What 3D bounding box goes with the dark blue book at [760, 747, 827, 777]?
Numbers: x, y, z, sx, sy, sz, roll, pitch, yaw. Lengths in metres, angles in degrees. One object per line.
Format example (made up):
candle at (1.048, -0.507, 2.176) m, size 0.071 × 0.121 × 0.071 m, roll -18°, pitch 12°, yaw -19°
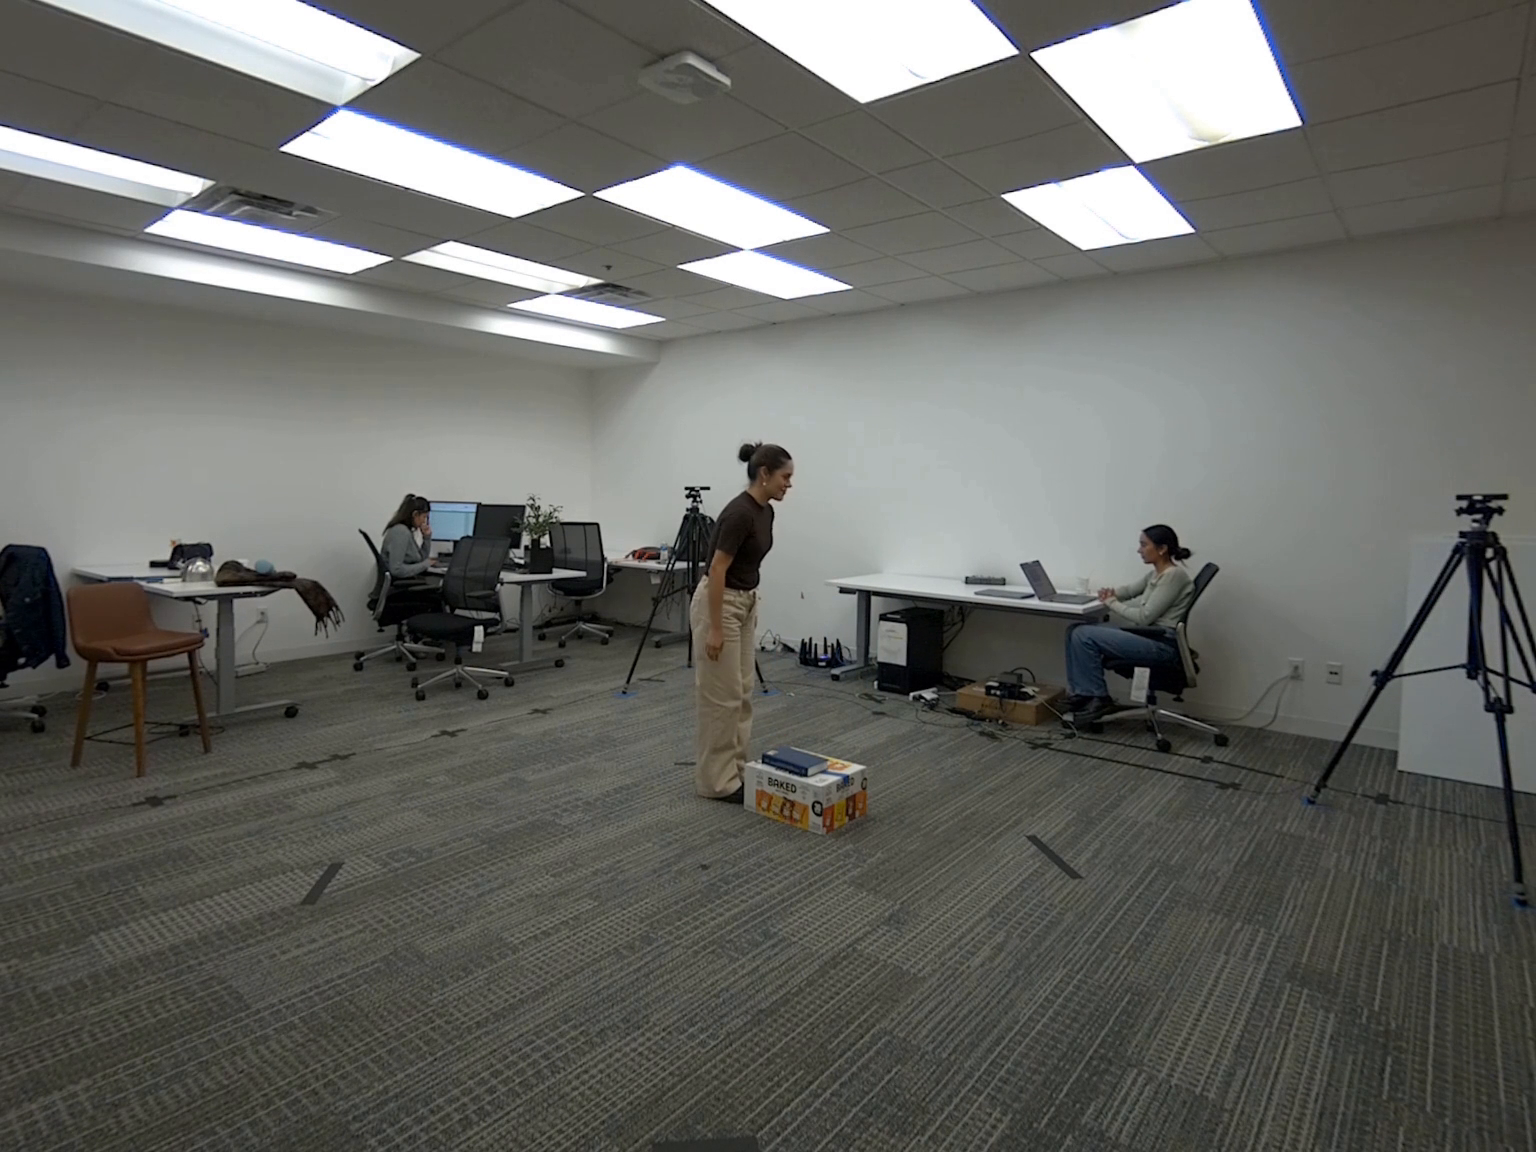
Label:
dark blue book at (0.100, 0.791, 3.670) m, size 0.253 × 0.045 × 0.159 m, roll 8°, pitch 8°, yaw 38°
